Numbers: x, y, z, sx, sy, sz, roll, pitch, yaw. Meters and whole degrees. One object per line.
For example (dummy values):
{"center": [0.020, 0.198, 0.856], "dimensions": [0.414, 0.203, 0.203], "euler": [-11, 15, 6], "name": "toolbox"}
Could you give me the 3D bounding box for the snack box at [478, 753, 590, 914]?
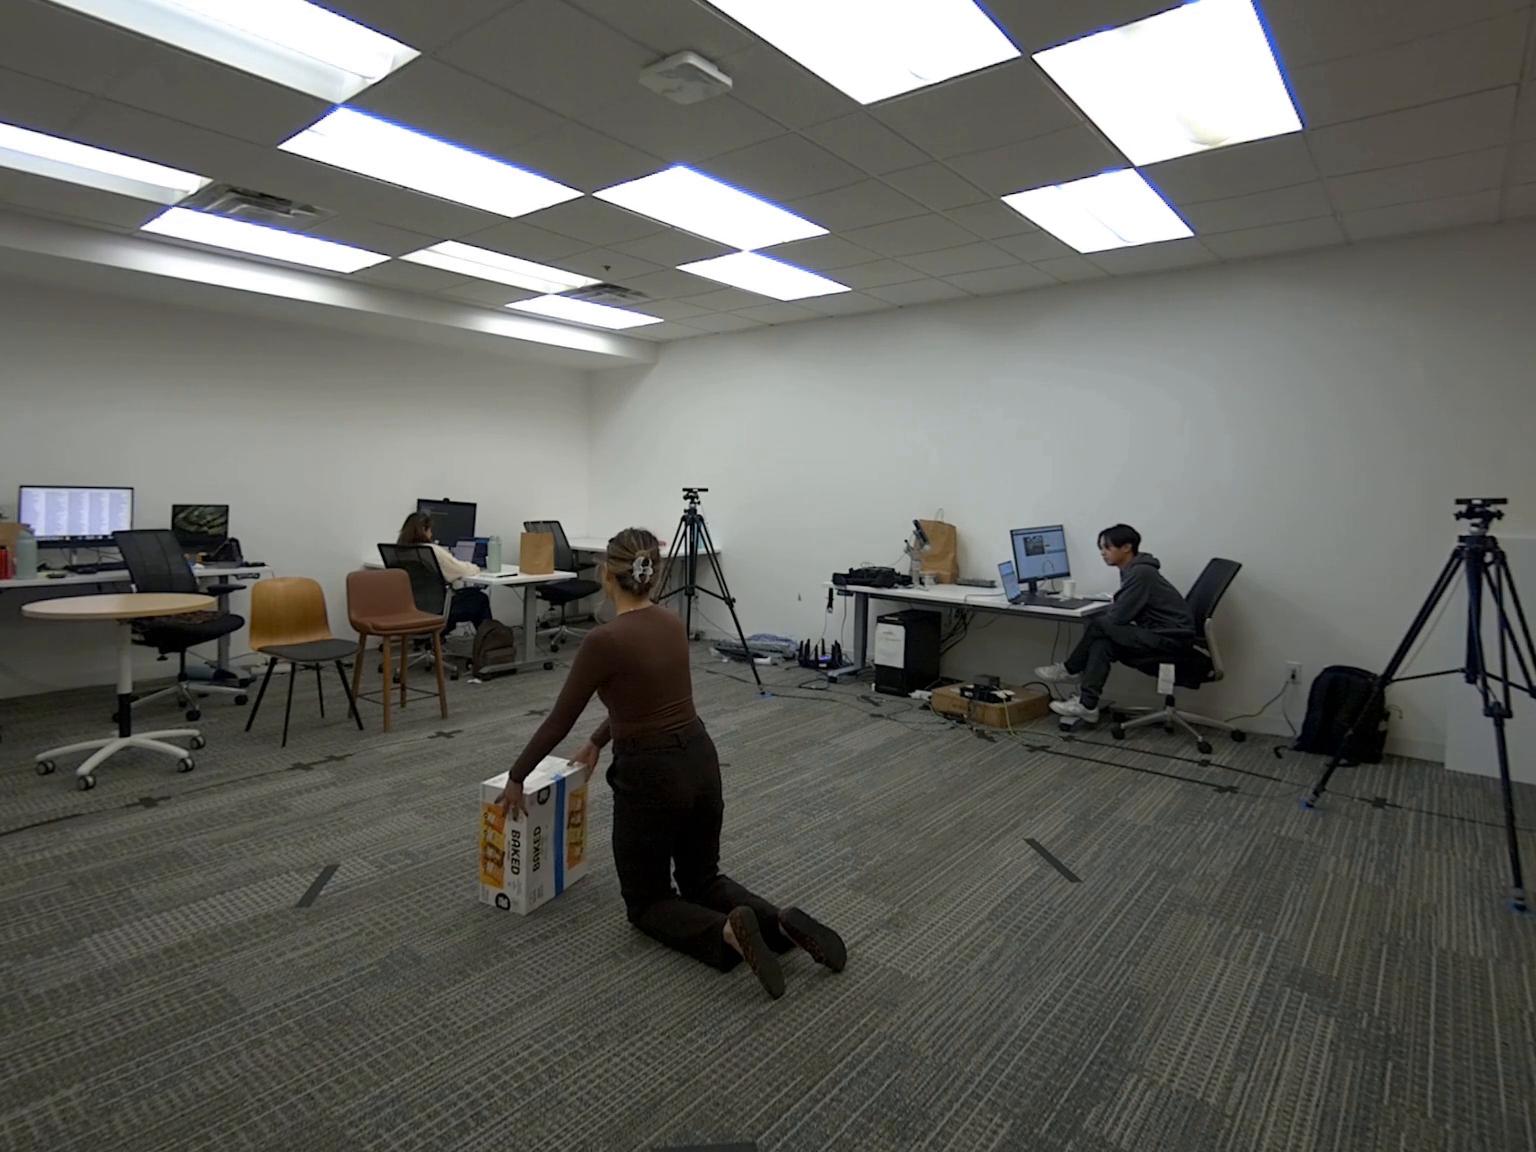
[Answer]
{"center": [-0.809, 0.873, 2.923], "dimensions": [0.211, 0.404, 0.333], "euler": [3, 5, 24], "name": "snack box"}
